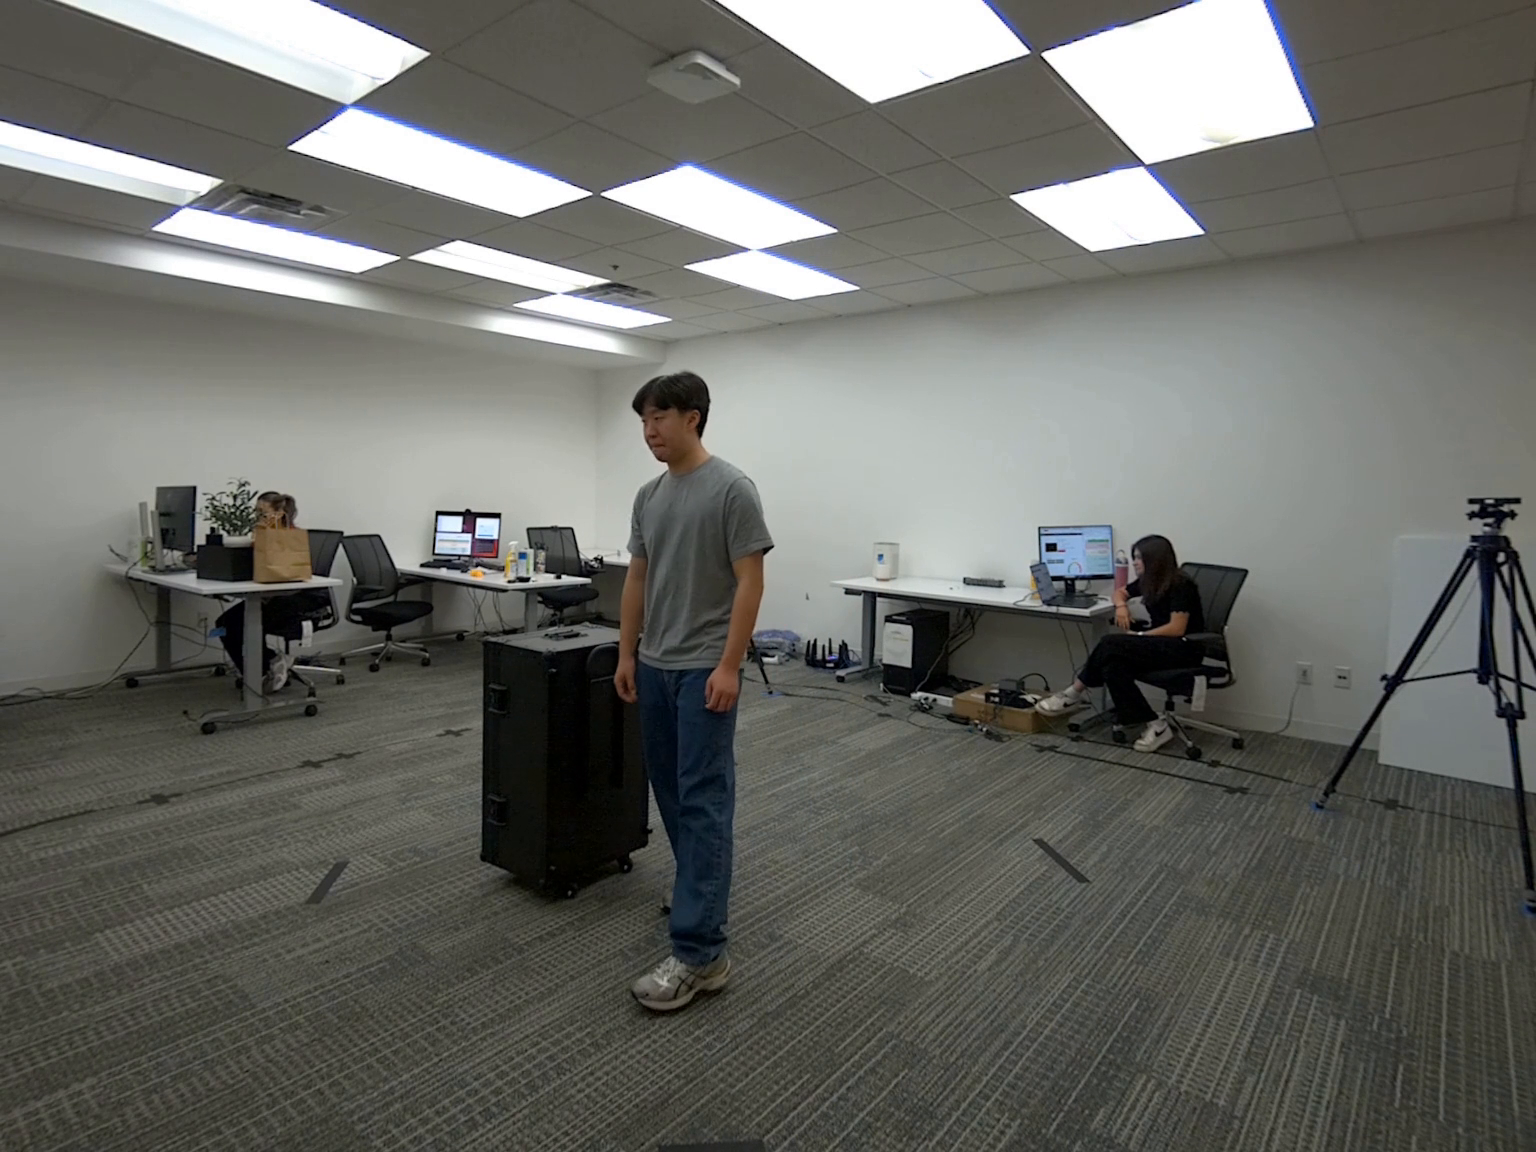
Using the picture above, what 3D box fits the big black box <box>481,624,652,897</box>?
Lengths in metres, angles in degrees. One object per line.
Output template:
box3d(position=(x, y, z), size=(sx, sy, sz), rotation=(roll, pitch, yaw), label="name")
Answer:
box3d(position=(-0.721, 0.638, 3.034), size=(0.409, 0.859, 0.506), rotation=(5, 5, 37), label="big black box")
